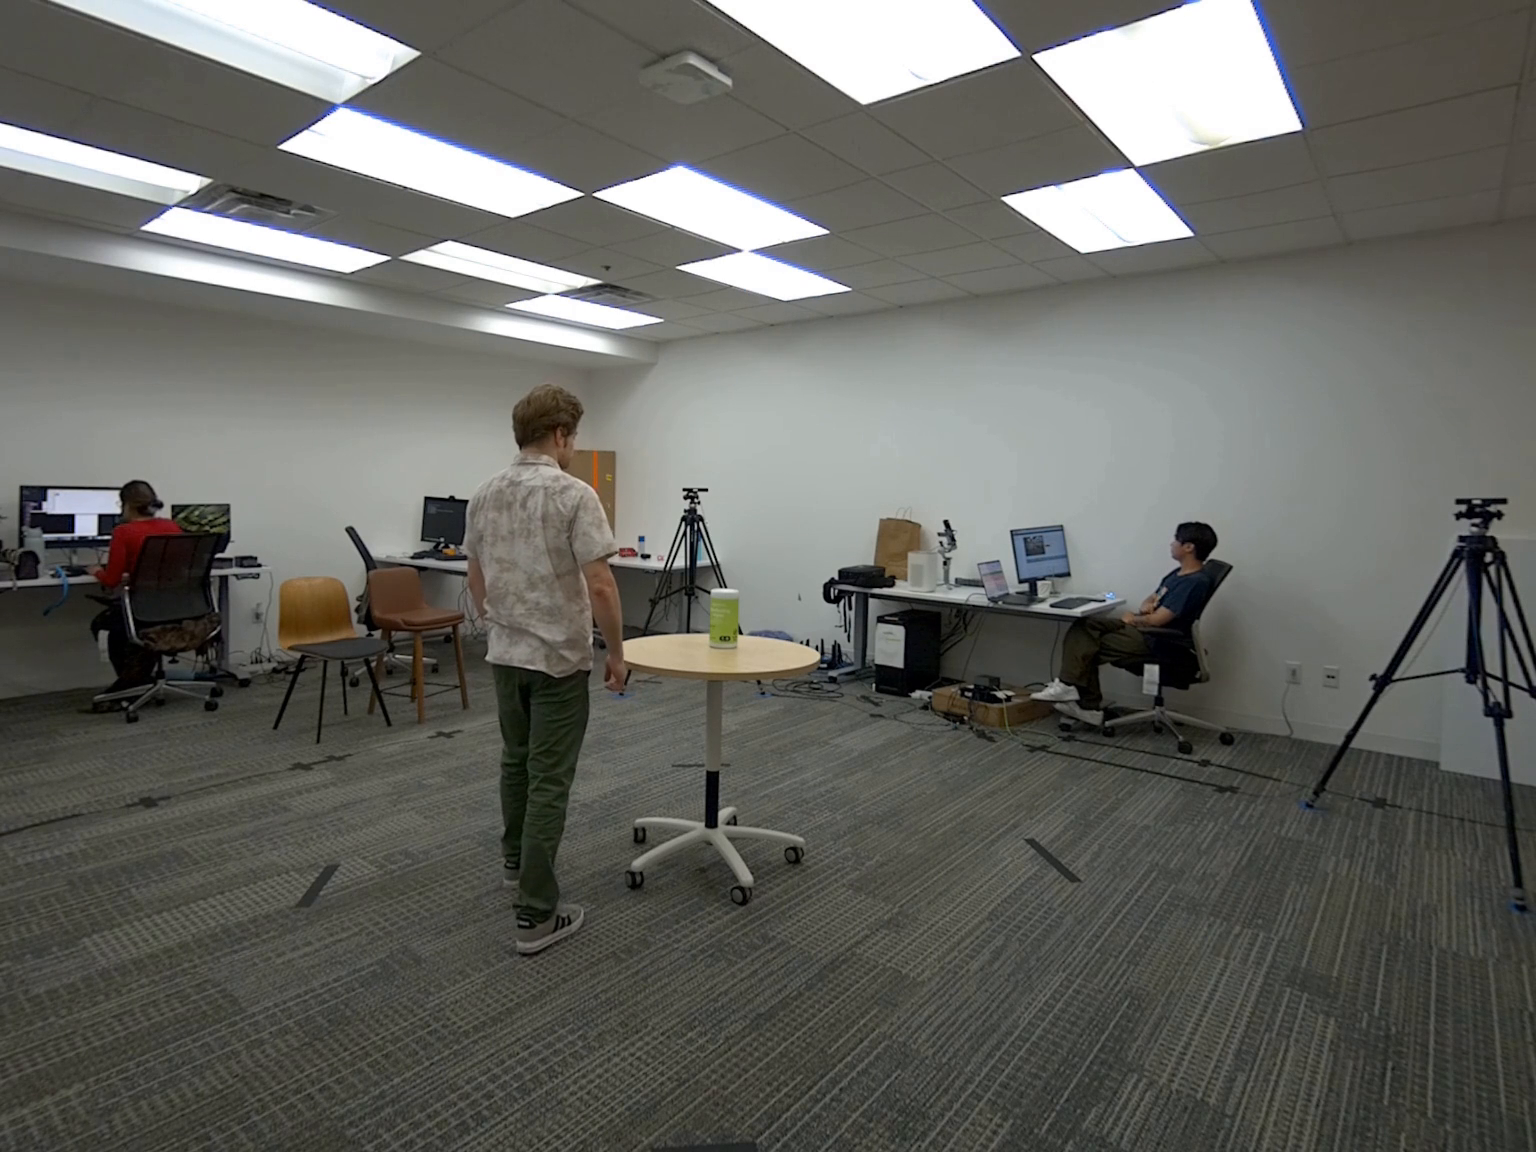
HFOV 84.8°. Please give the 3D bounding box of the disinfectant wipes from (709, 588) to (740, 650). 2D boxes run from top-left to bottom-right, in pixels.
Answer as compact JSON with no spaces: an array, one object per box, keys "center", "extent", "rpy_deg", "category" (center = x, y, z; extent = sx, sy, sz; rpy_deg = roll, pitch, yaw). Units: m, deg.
[{"center":[-0.178,0.158,3.219],"extent":[0.118,0.217,0.118],"rpy_deg":[1,4,-2],"category":"disinfectant wipes"}]
